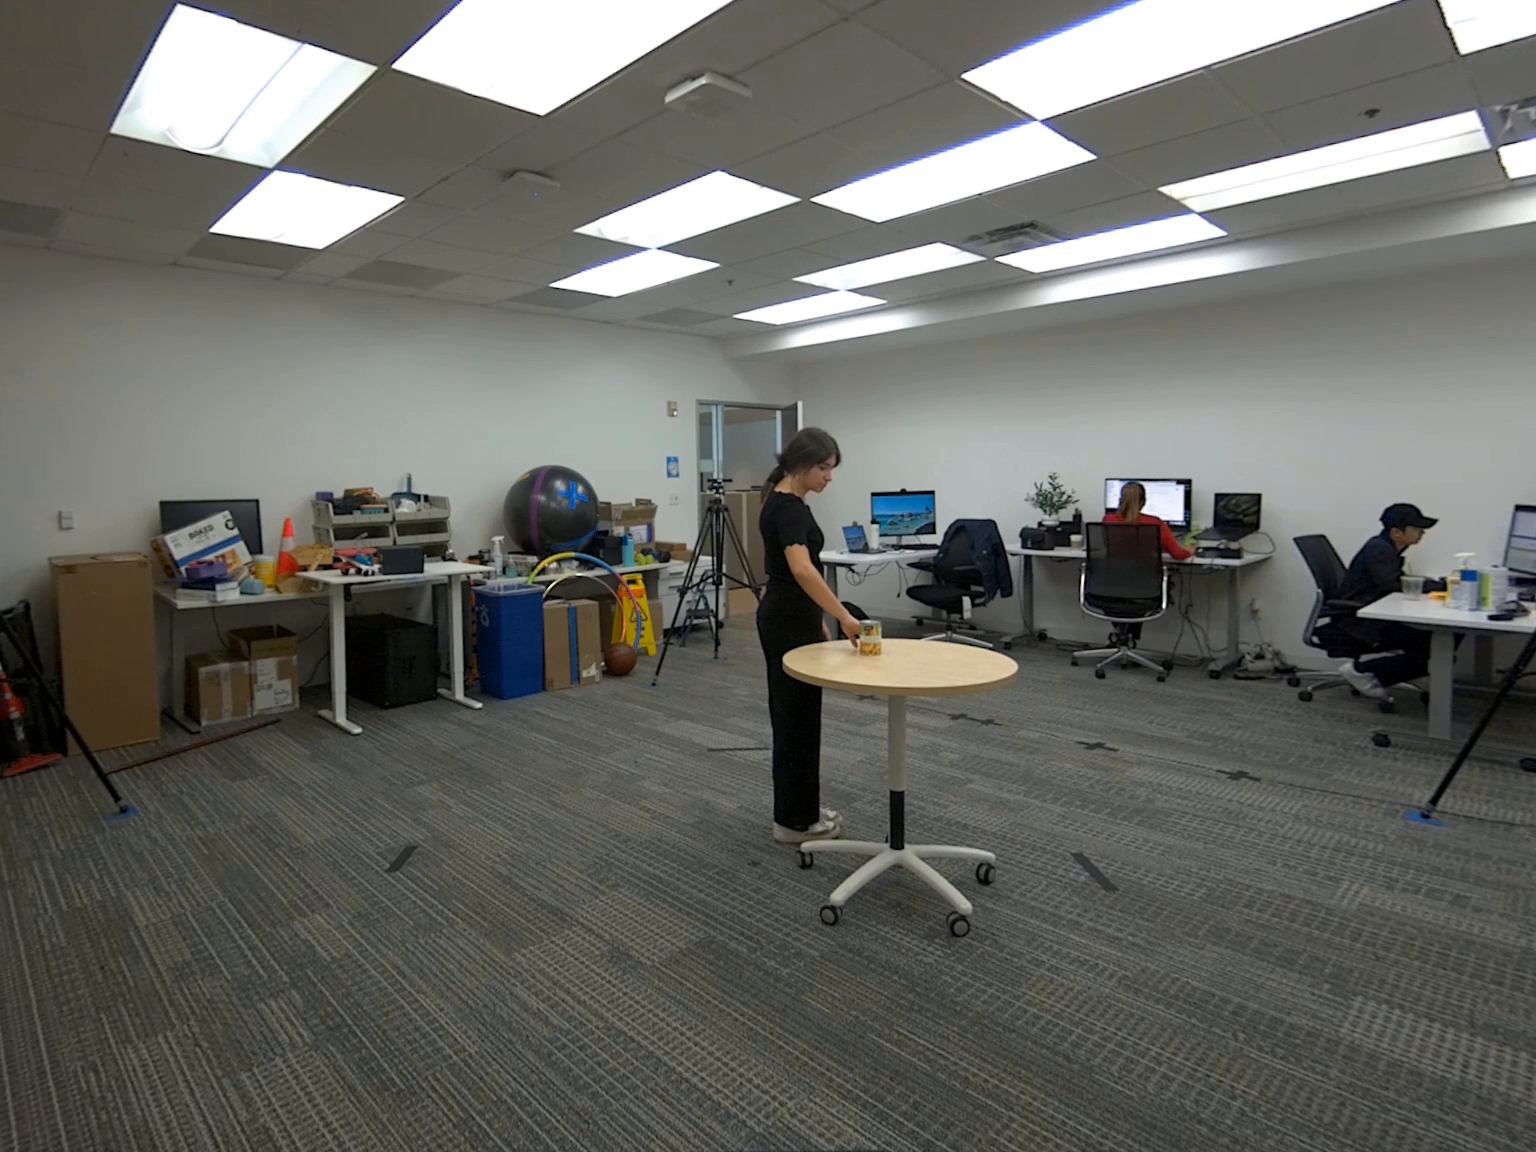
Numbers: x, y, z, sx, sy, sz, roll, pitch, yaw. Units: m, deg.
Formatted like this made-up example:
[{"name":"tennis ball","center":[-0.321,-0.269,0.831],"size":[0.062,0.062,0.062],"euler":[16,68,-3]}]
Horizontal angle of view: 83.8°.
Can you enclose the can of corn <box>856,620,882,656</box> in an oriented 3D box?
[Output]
[{"name":"can of corn","center":[0.358,0.216,2.959],"size":[0.074,0.111,0.074],"euler":[-1,3,-2]}]
